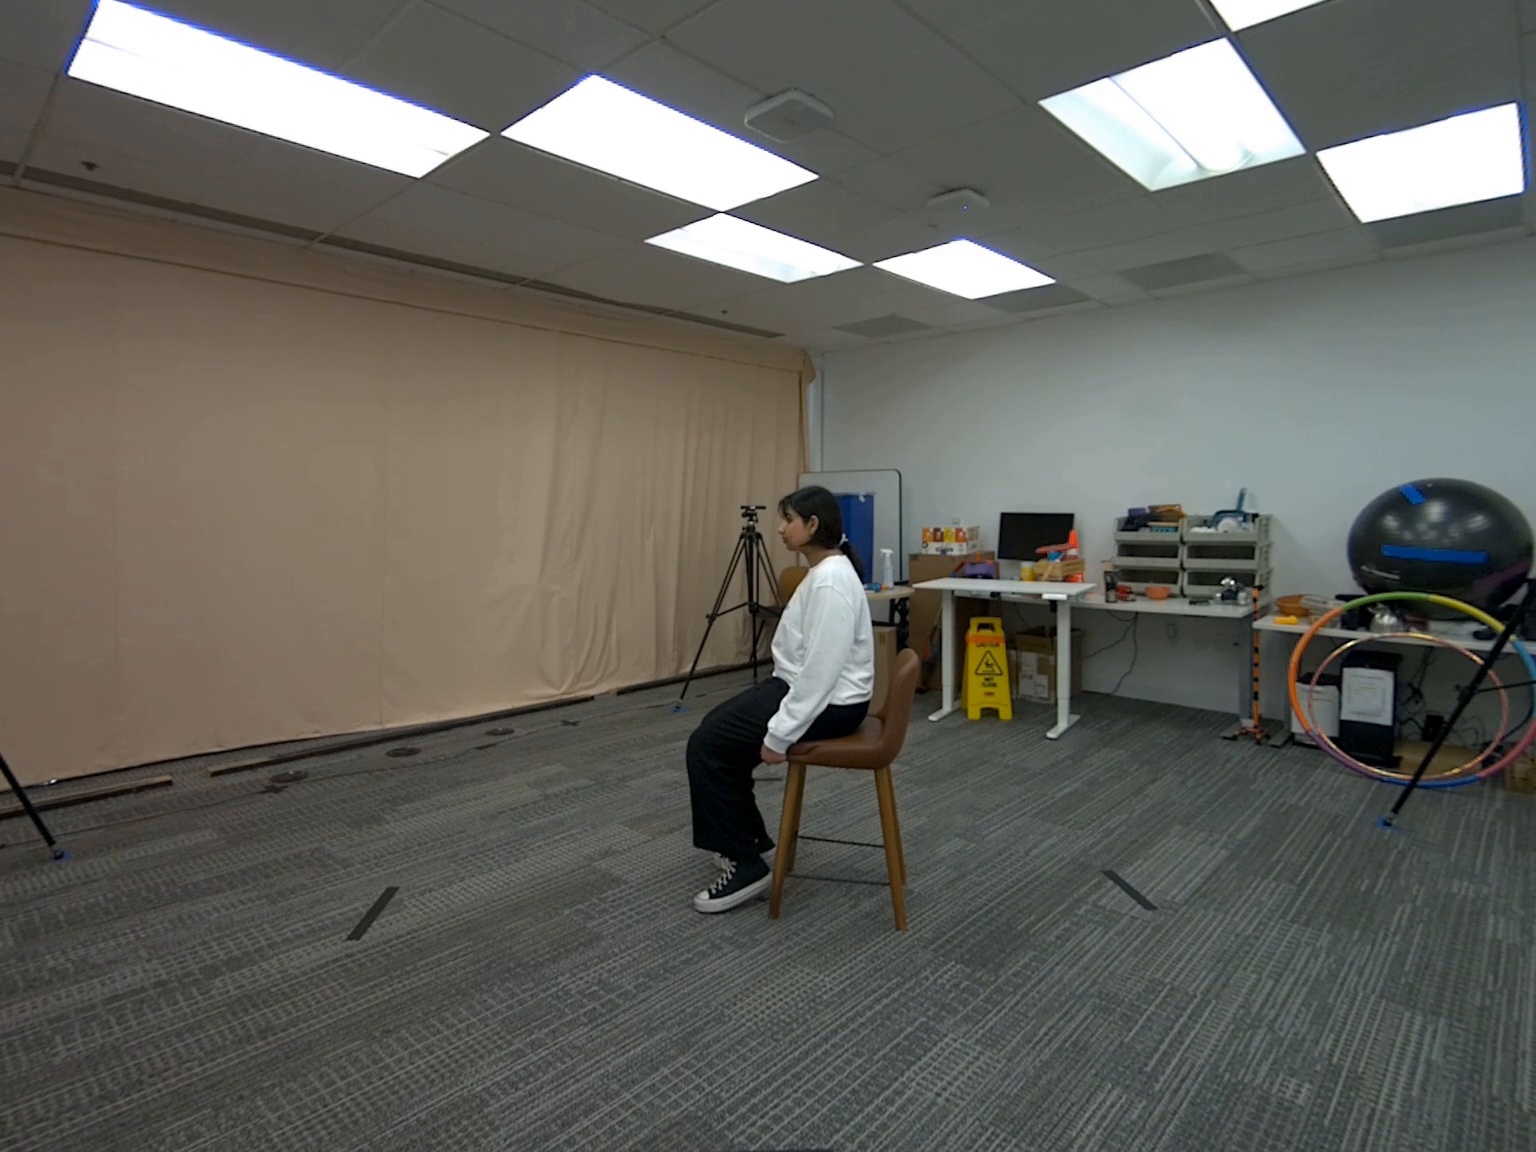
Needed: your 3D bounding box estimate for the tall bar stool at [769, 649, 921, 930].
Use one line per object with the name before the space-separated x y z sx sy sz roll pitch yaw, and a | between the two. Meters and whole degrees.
tall bar stool | 0.274 0.712 2.957 0.474 0.888 0.451 3 3 12
